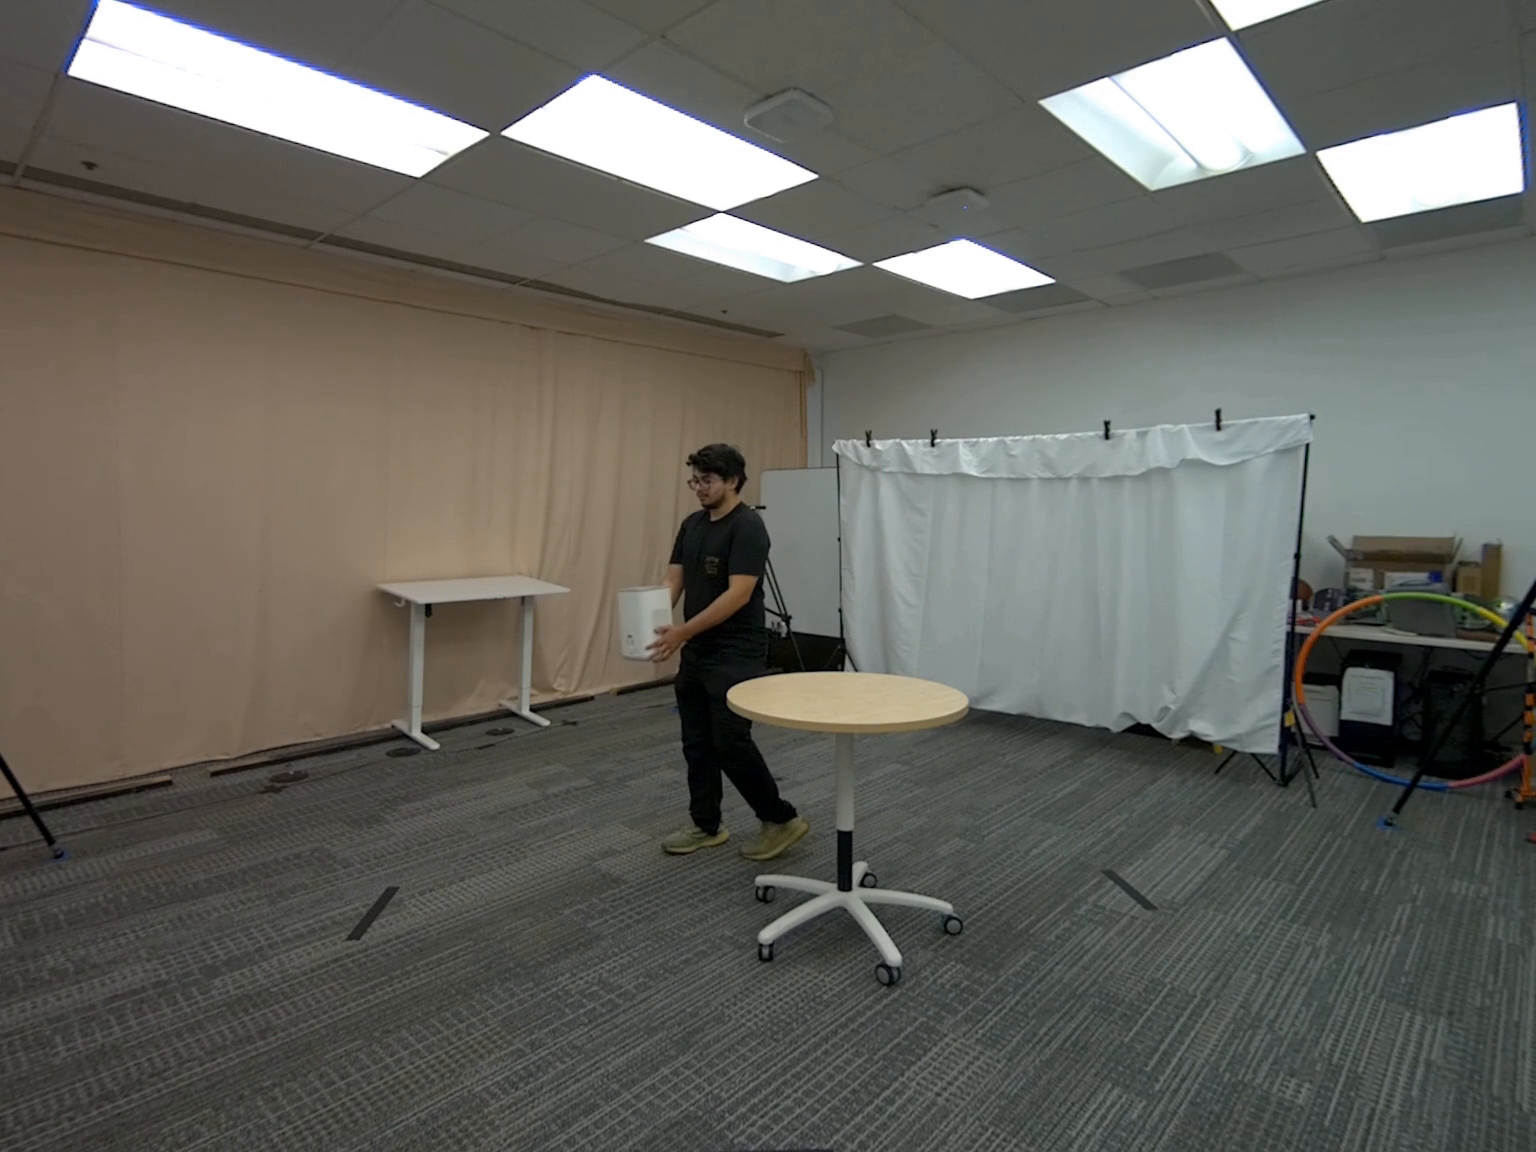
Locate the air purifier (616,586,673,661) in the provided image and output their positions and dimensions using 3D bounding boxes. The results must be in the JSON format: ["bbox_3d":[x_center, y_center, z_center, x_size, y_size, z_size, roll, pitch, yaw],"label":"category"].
[{"bbox_3d":[-0.453,0.177,3.150,0.176,0.265,0.167,-2,3,37],"label":"air purifier"}]
